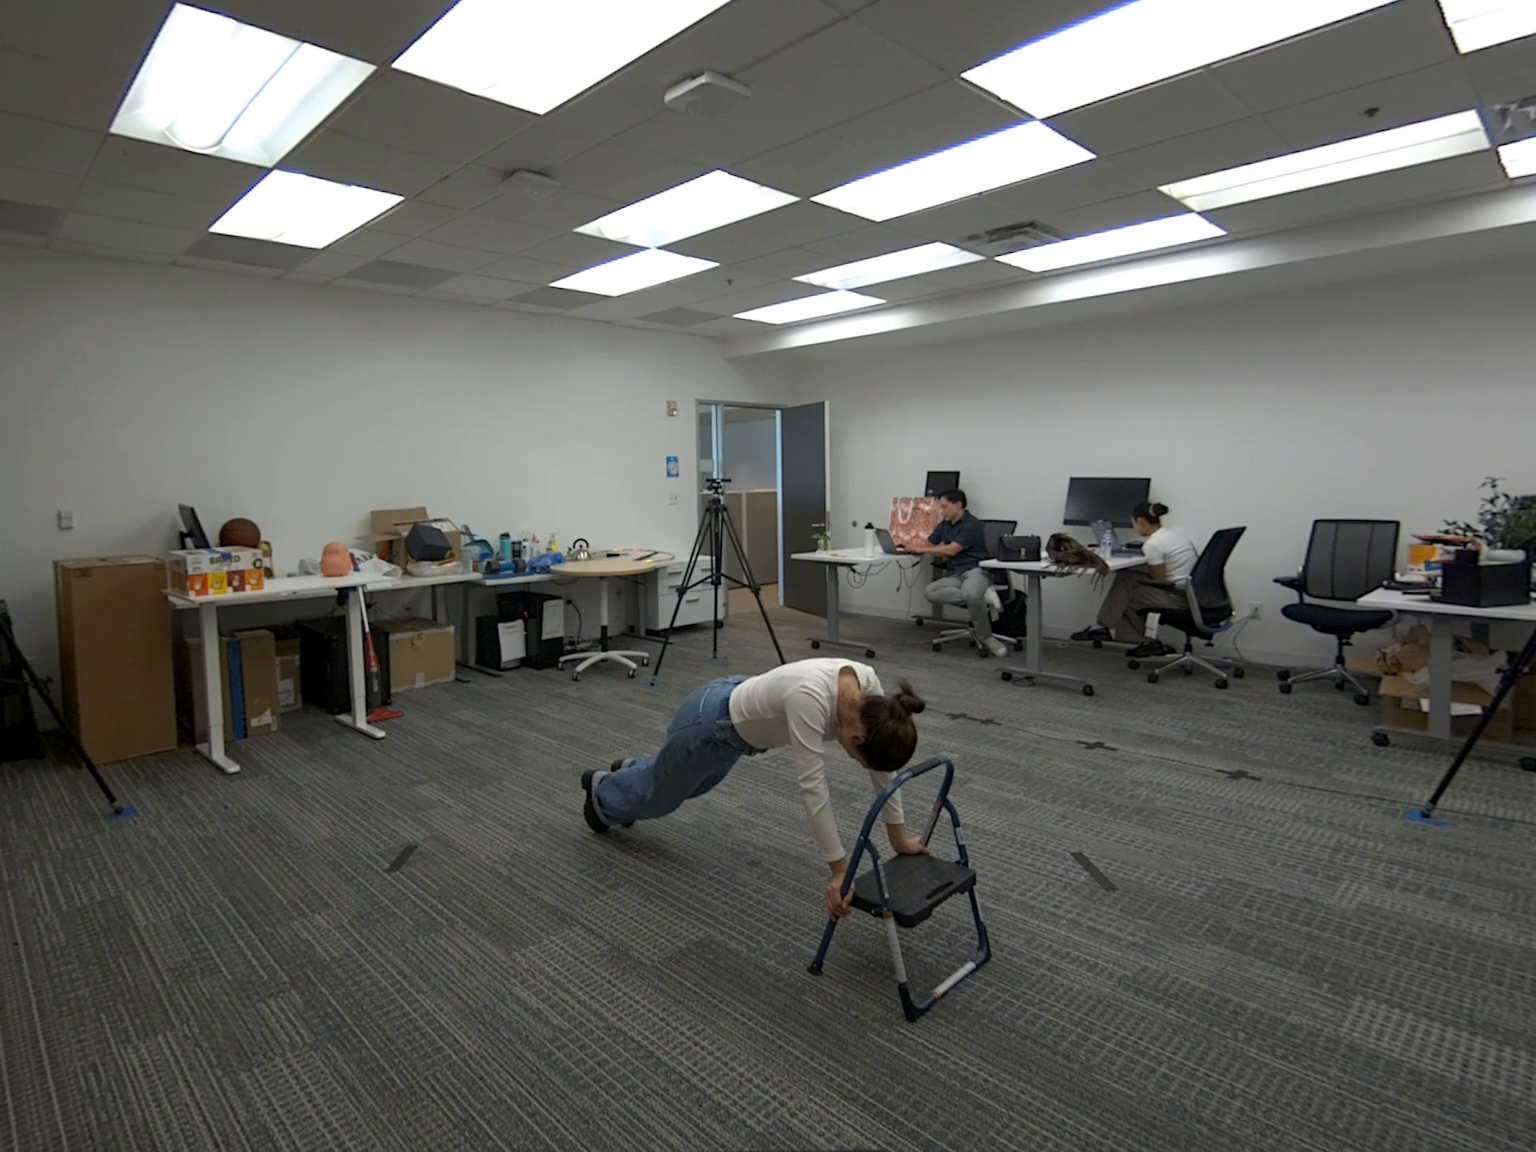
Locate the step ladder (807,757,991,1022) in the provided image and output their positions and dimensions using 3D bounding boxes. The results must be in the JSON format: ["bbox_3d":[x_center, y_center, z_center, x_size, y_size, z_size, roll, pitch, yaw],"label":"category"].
[{"bbox_3d":[0.383,0.816,2.425,0.360,0.604,0.419,3,6,43],"label":"step ladder"}]
